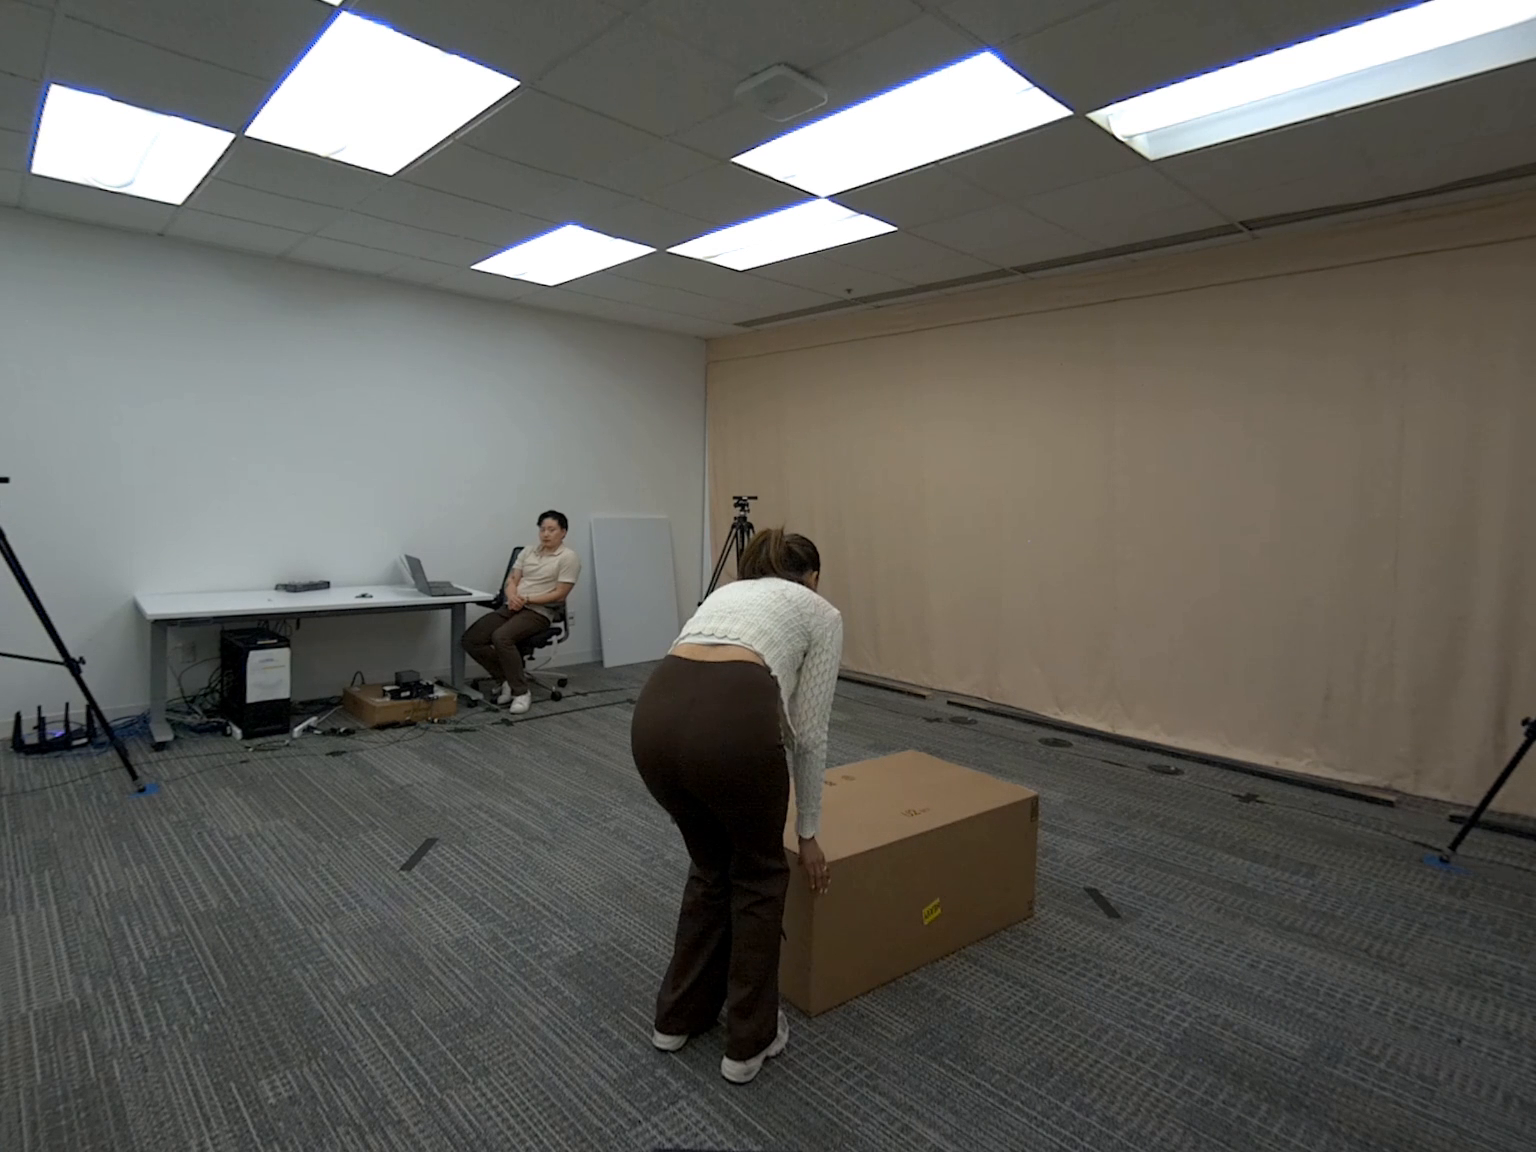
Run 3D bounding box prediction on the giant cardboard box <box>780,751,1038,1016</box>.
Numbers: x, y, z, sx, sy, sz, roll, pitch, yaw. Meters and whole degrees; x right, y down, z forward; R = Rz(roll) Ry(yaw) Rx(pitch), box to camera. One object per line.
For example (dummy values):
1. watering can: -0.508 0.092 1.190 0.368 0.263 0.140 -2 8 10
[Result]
1. giant cardboard box: 0.331 0.934 2.769 1.003 0.425 0.592 -2 6 -38
